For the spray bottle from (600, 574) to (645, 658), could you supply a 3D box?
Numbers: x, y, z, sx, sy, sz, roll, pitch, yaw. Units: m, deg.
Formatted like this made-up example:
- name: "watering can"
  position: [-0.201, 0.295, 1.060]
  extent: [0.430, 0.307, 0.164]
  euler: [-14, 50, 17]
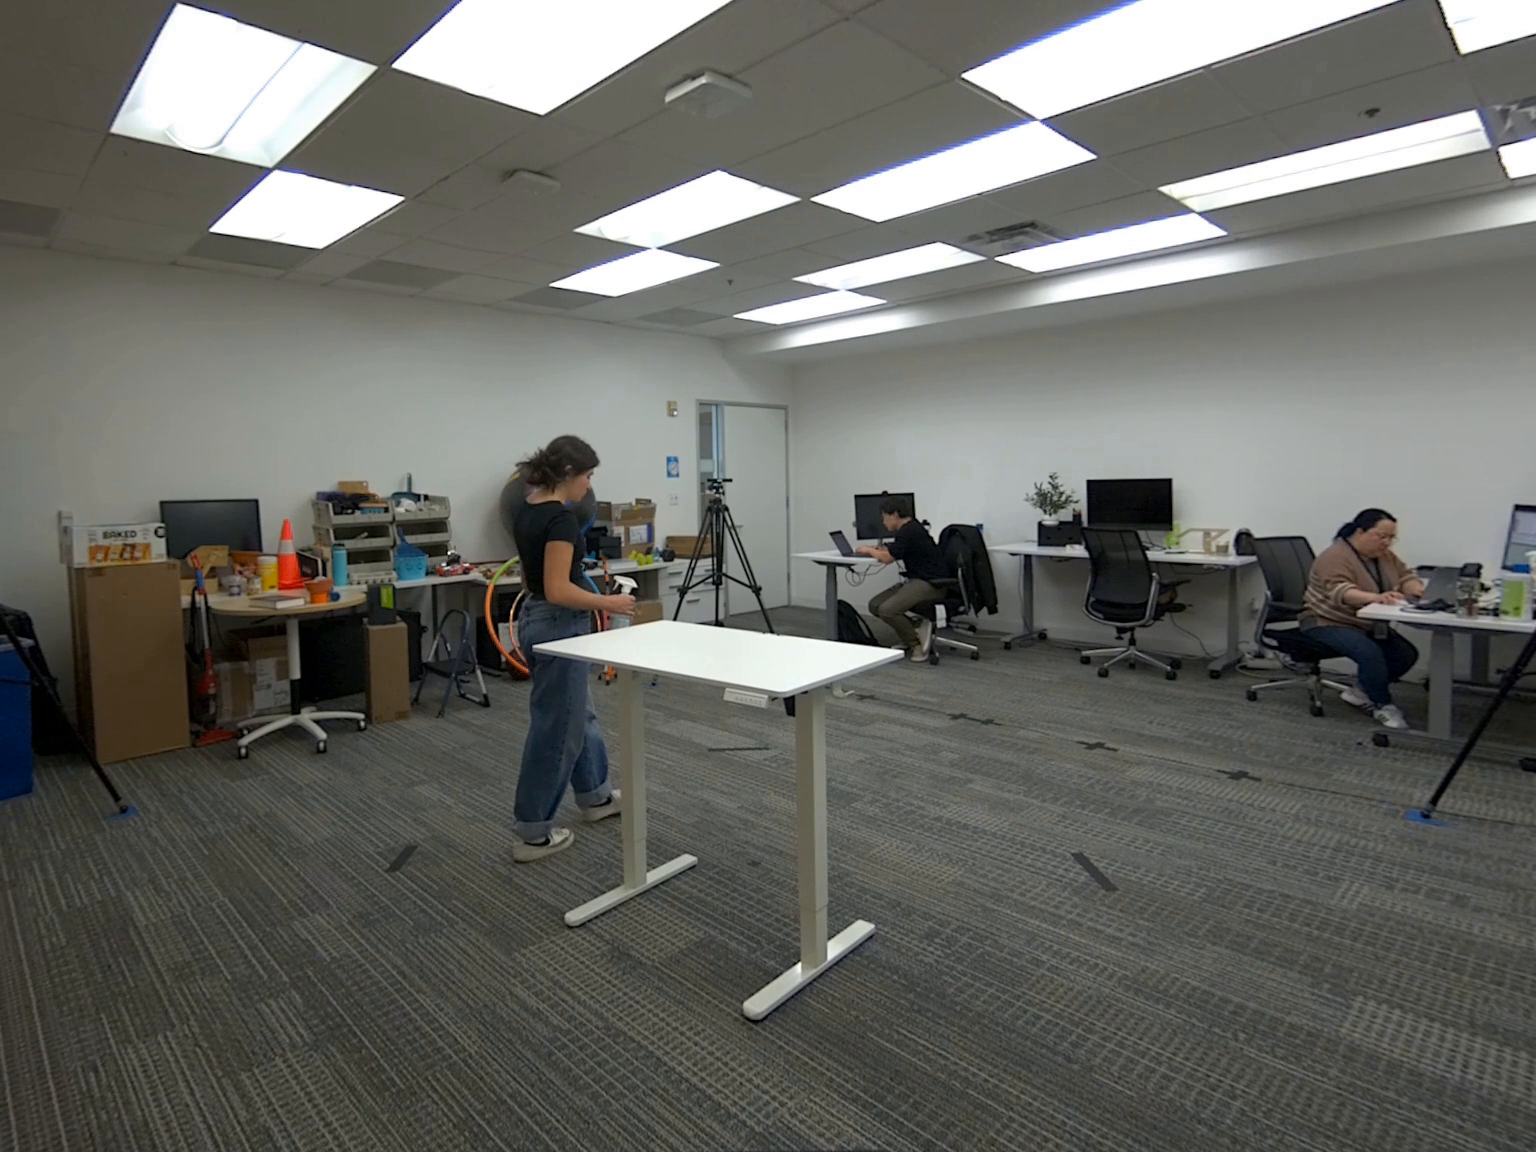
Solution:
- name: "spray bottle"
  position: [-0.551, 0.150, 3.240]
  extent: [0.092, 0.299, 0.084]
  euler: [5, -6, 23]
